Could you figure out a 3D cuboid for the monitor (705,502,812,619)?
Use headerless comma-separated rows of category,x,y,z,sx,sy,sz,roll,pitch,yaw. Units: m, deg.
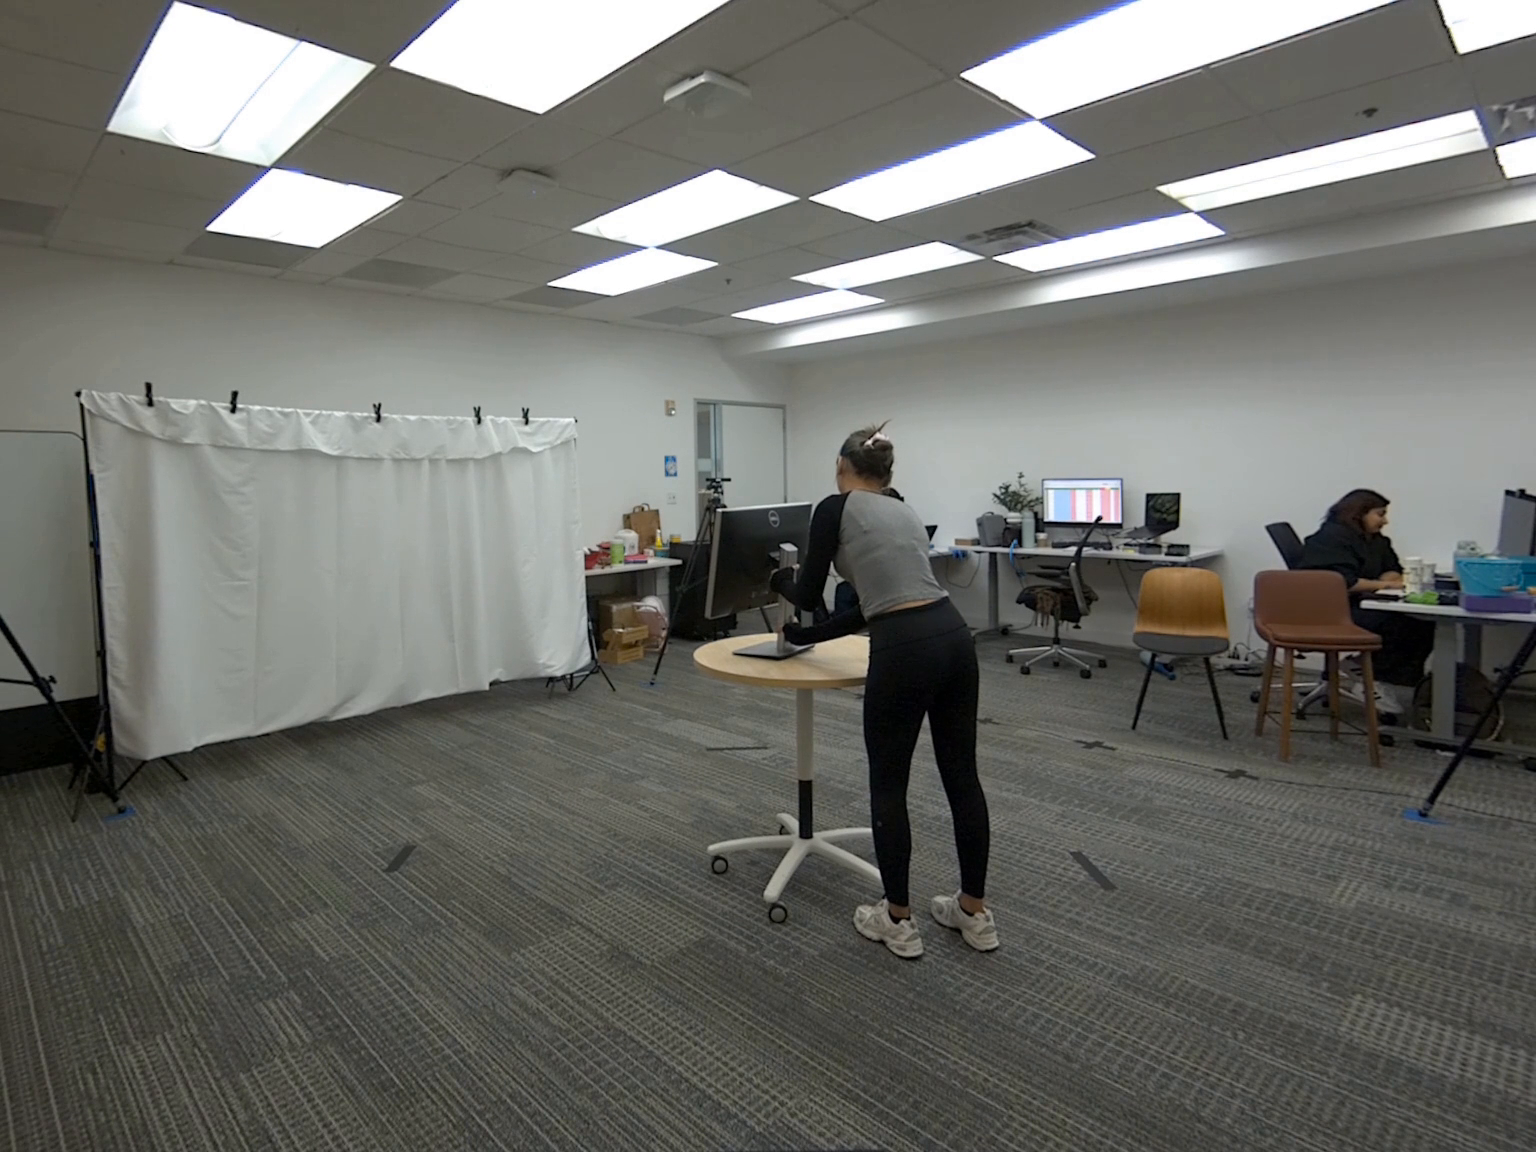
monitor,0.017,0.017,2.963,0.192,0.522,0.526,-5,2,35
